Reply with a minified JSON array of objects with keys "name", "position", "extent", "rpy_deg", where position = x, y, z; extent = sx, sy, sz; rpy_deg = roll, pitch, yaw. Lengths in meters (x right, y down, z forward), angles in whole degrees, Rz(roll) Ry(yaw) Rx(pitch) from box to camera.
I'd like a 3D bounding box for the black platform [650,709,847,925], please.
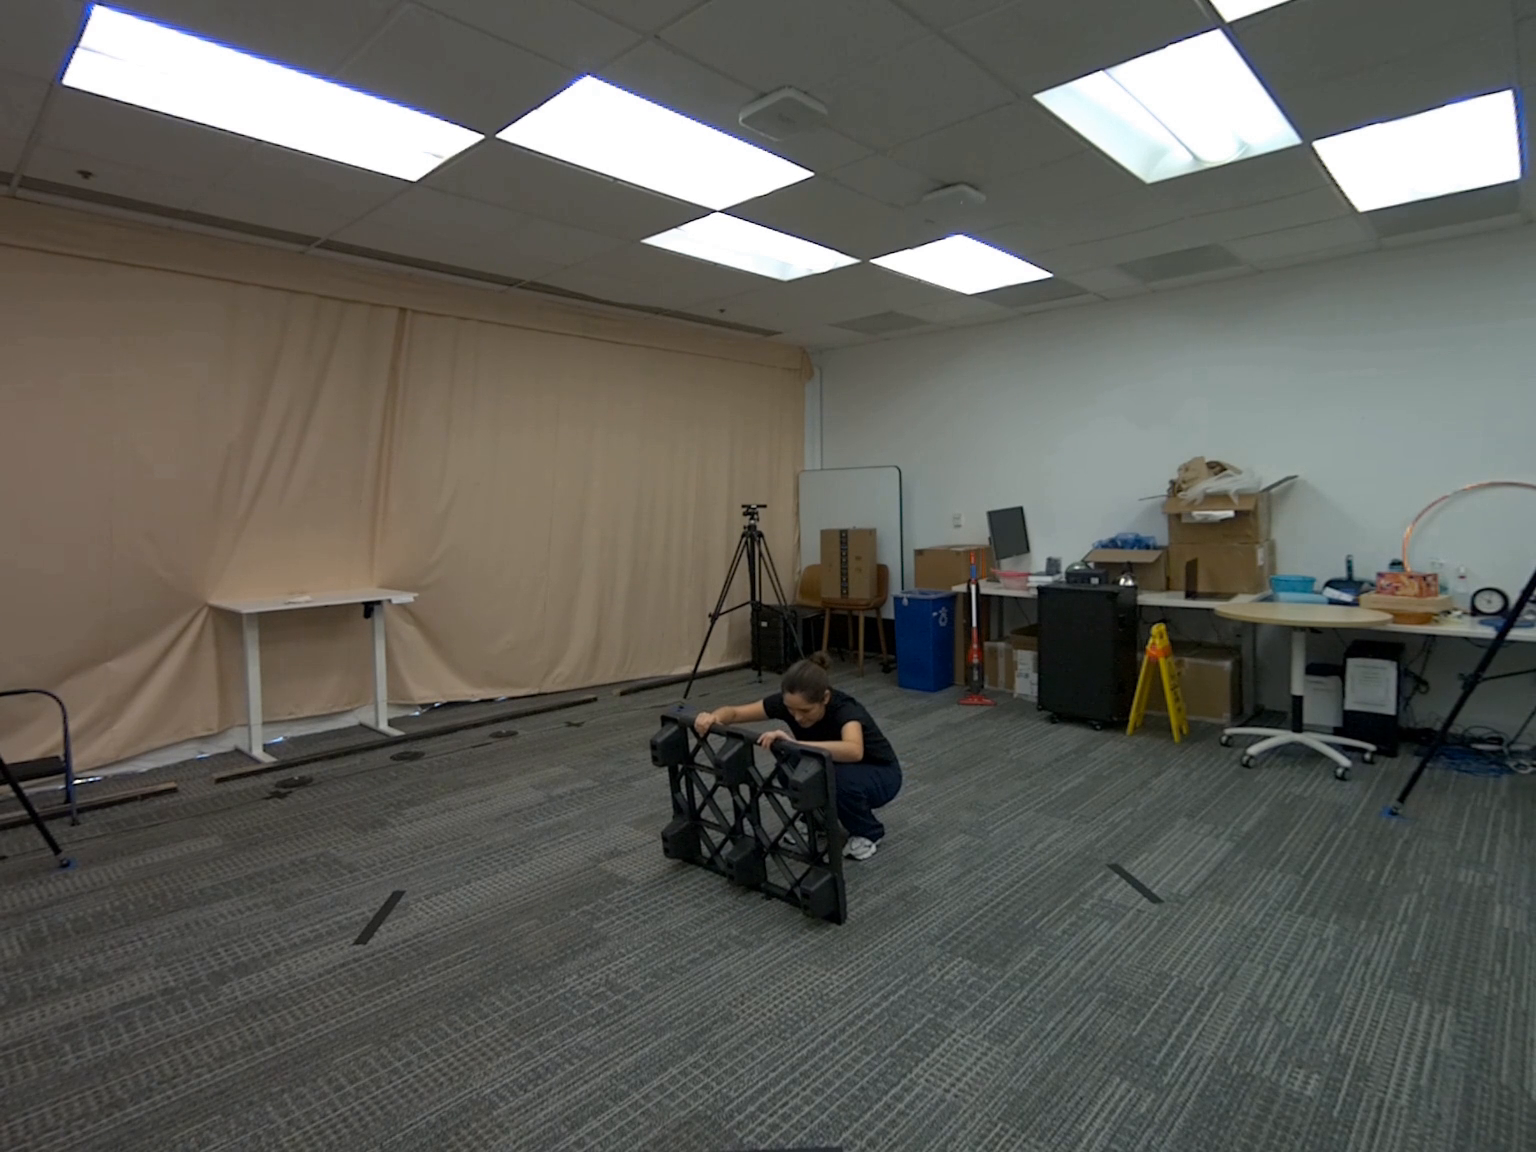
[{"name":"black platform","position":[-0.088,0.841,2.990],"extent":[0.832,0.601,0.139],"rpy_deg":[3,12,43]}]
